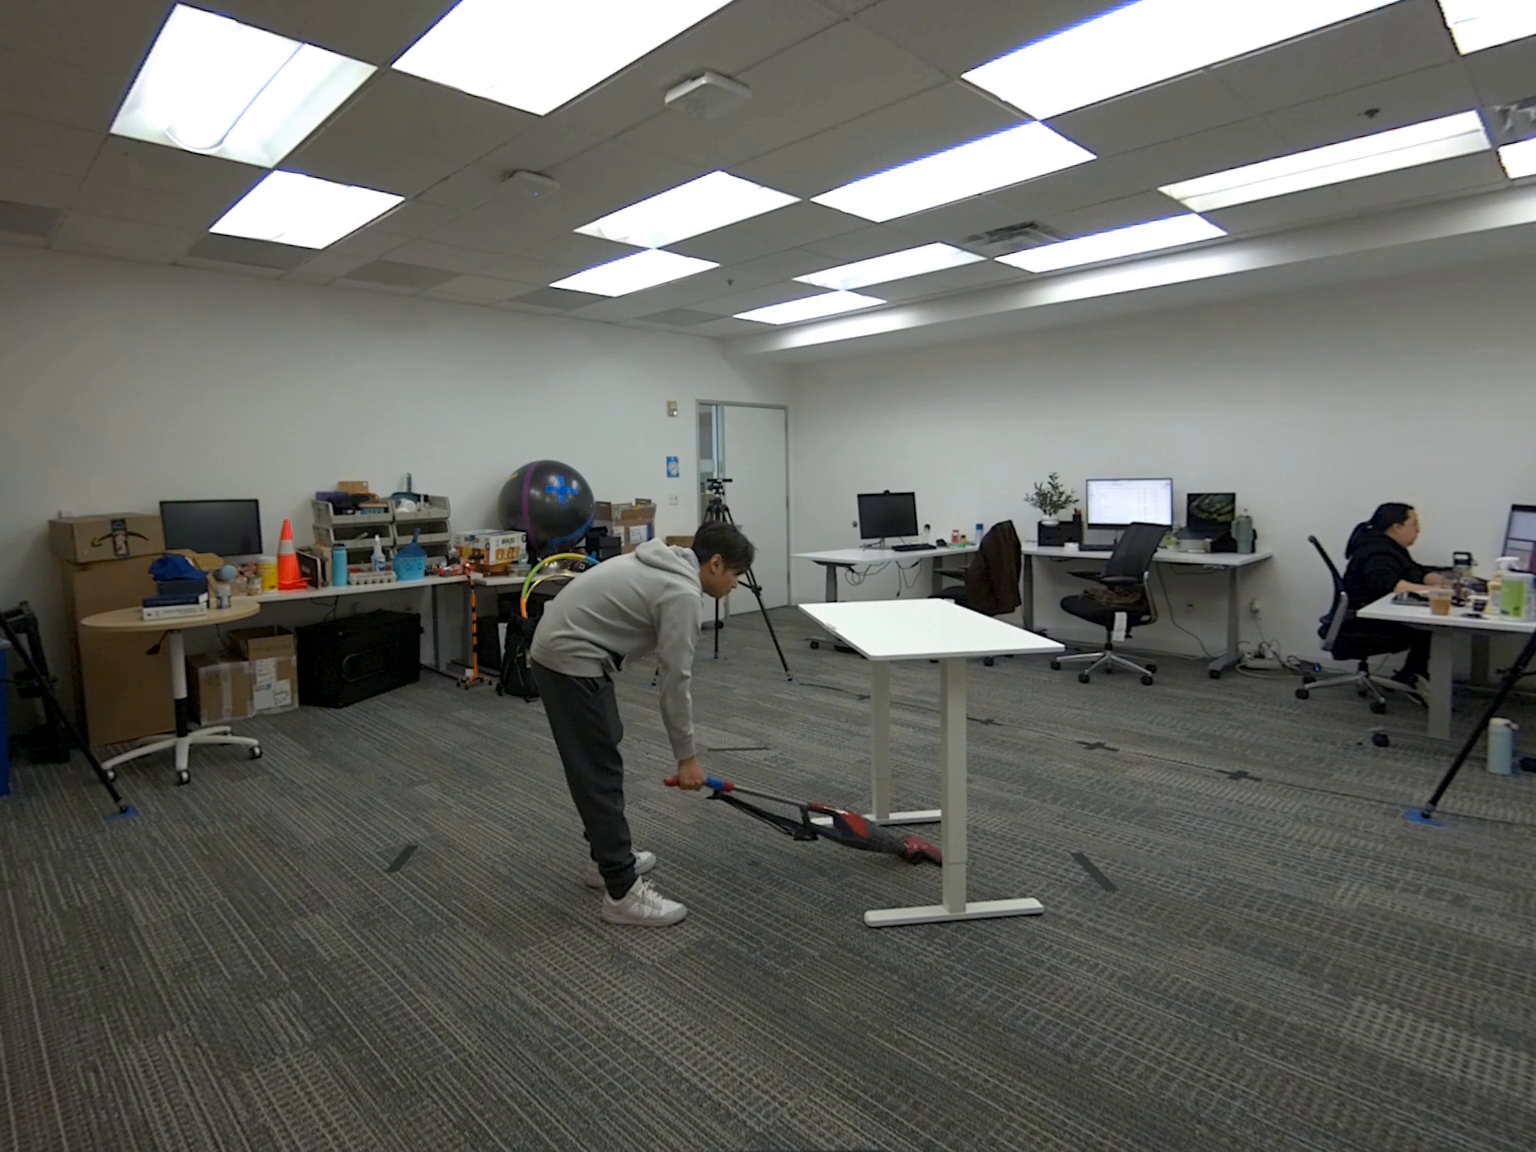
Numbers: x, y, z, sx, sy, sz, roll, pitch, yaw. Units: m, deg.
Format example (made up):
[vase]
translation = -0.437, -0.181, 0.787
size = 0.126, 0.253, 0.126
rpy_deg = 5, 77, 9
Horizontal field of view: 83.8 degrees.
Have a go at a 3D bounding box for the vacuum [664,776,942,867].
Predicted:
[vacuum]
translation = 0.126, 0.834, 2.956
size = 1.021, 0.146, 0.256
rpy_deg = 21, -20, -24
